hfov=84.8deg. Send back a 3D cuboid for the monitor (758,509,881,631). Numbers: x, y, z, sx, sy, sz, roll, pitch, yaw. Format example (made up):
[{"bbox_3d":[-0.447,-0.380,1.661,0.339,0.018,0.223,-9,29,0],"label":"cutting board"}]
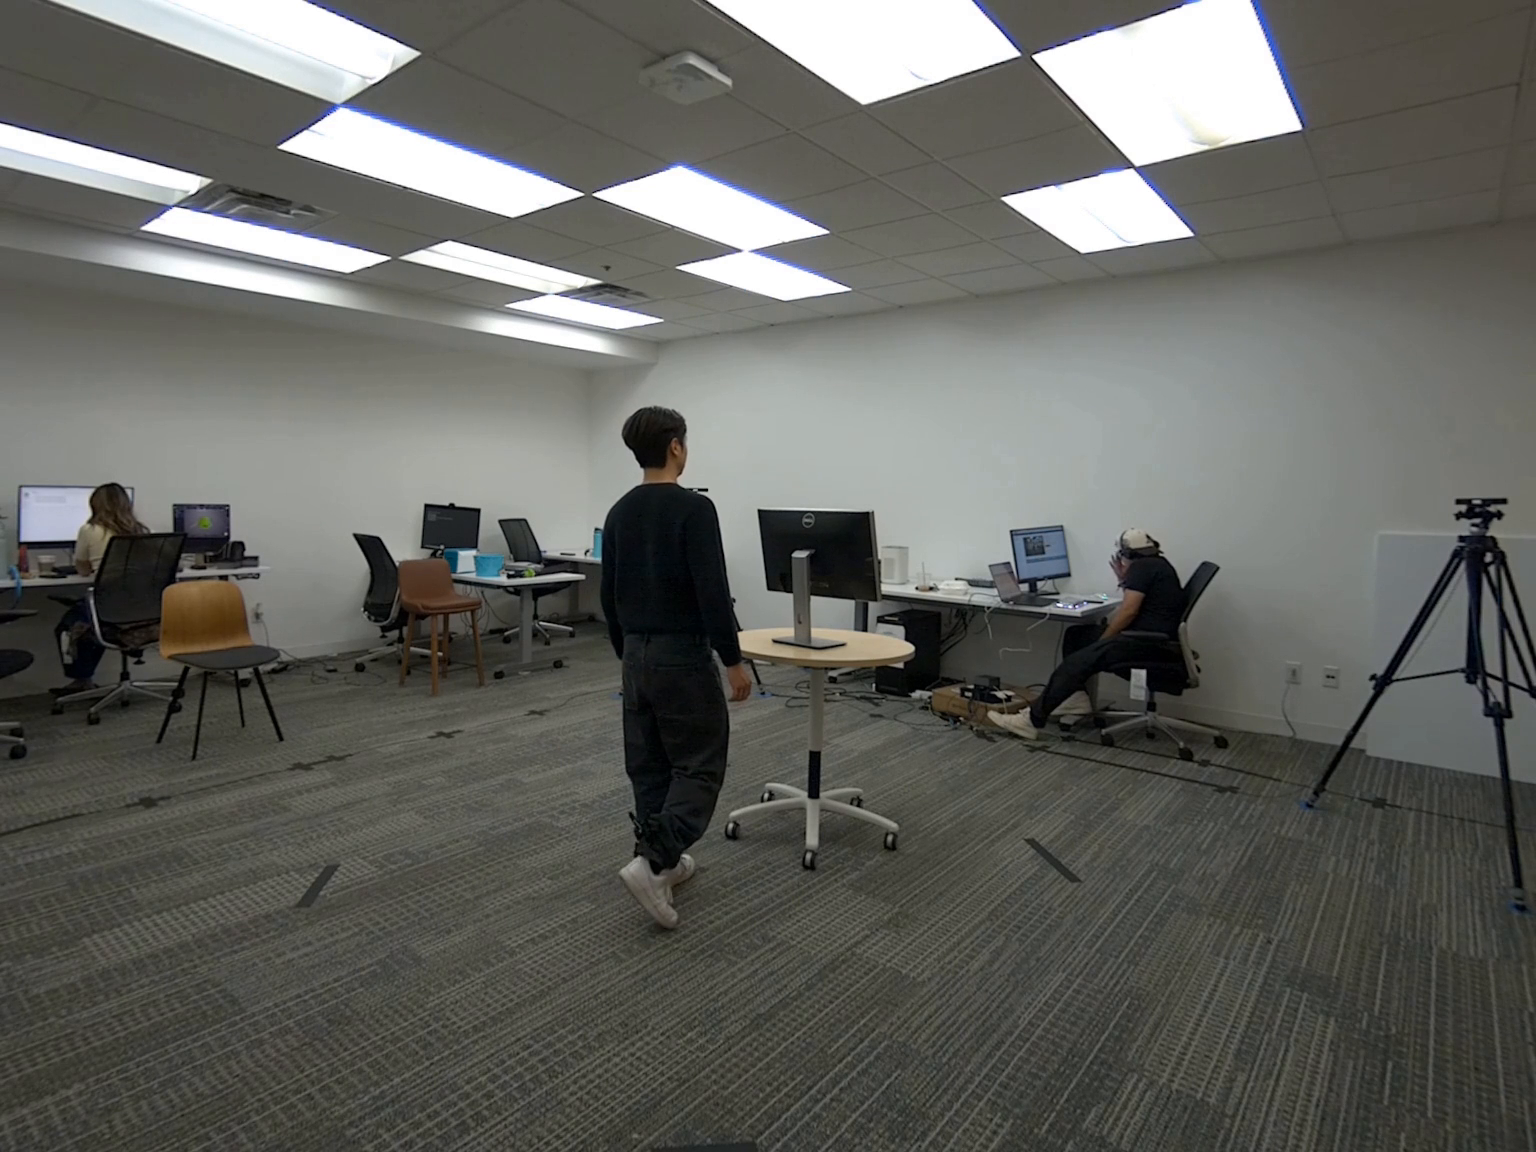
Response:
[{"bbox_3d":[0.168,-0.001,3.422,0.547,0.517,0.169,2,-1,40],"label":"monitor"}]
